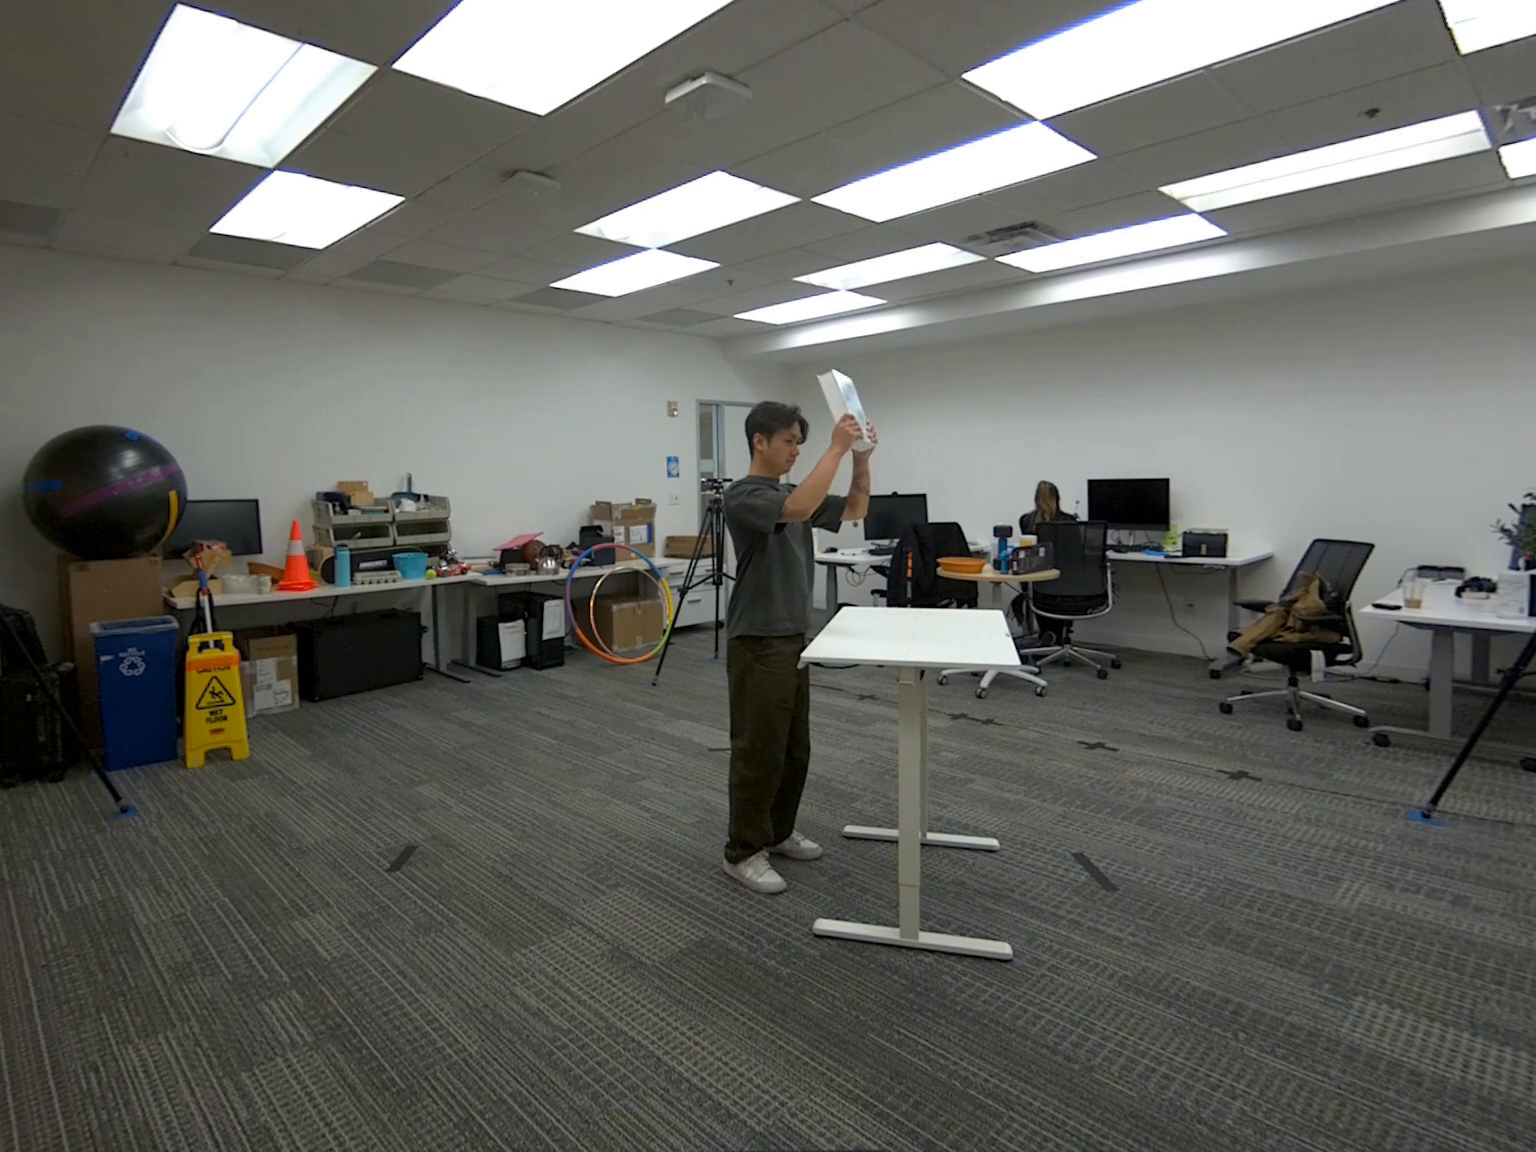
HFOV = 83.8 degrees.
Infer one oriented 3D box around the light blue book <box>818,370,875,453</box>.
[{"bbox_3d":[0.275,-0.552,2.912,0.060,0.264,0.186,-23,-11,25],"label":"light blue book"}]
